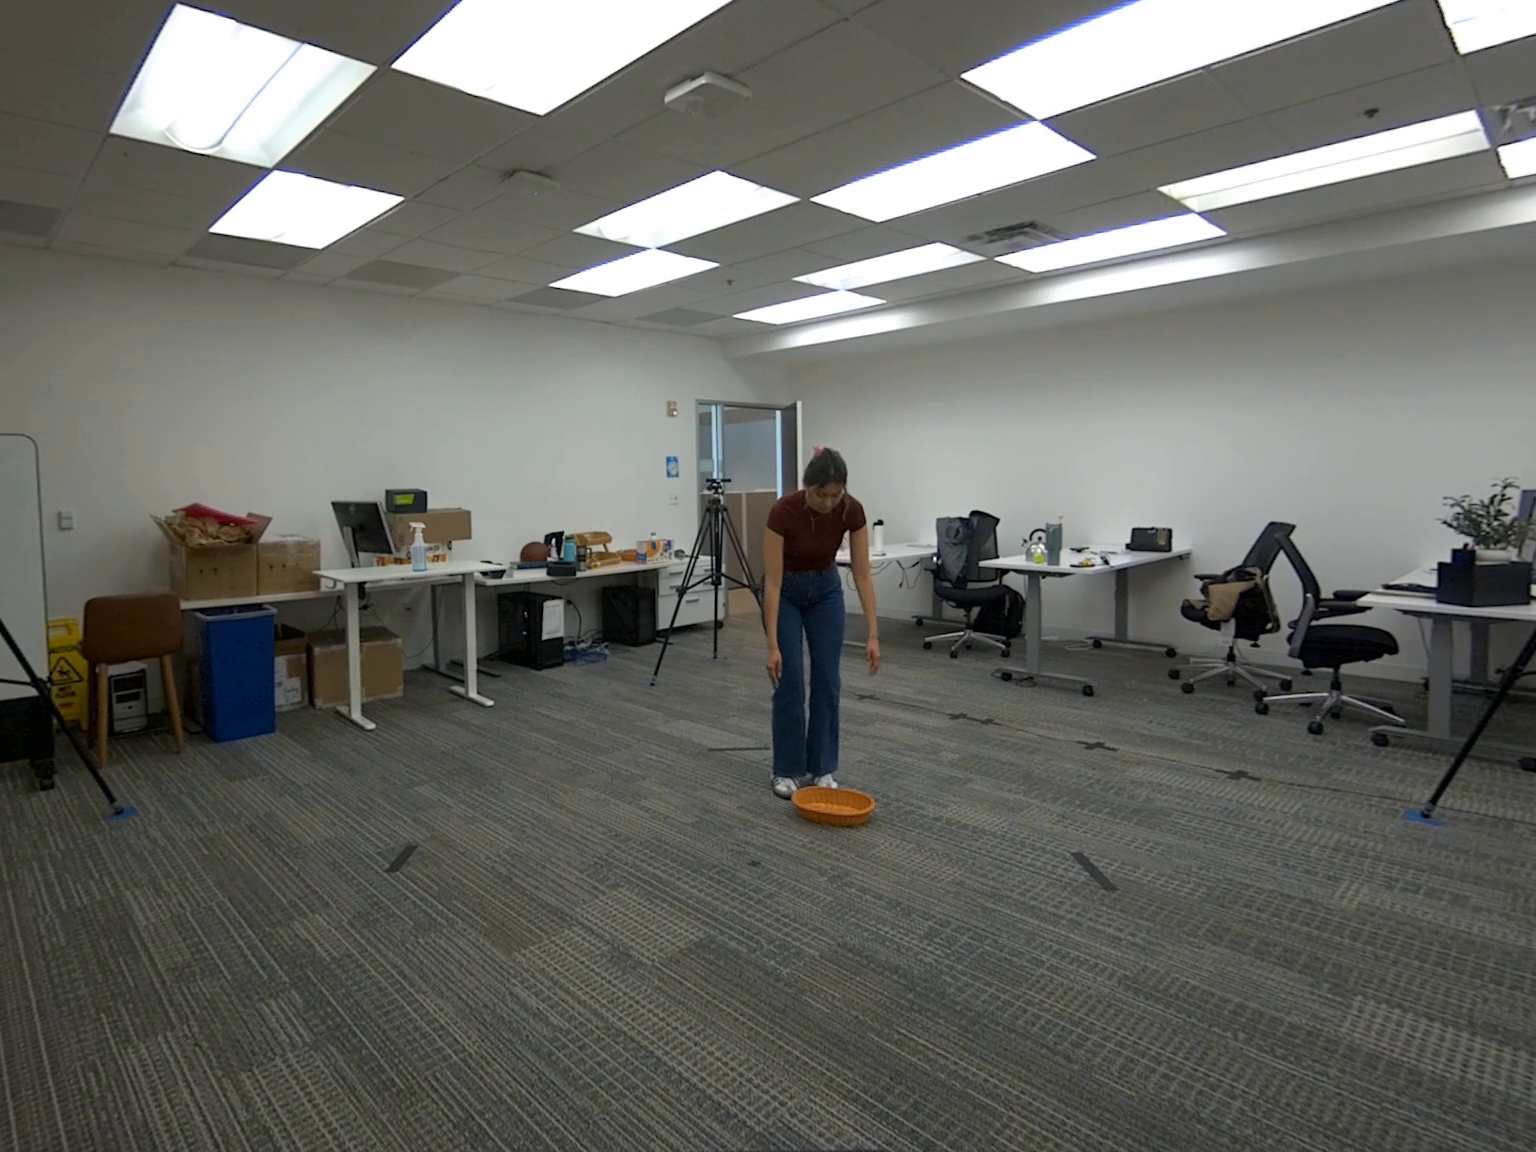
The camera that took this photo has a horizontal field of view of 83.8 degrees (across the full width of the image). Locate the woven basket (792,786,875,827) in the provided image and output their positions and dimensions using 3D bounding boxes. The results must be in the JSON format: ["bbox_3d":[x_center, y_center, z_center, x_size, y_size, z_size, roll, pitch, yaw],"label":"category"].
[{"bbox_3d":[0.266,0.957,3.522,0.359,0.073,0.248,2,9,27],"label":"woven basket"}]
